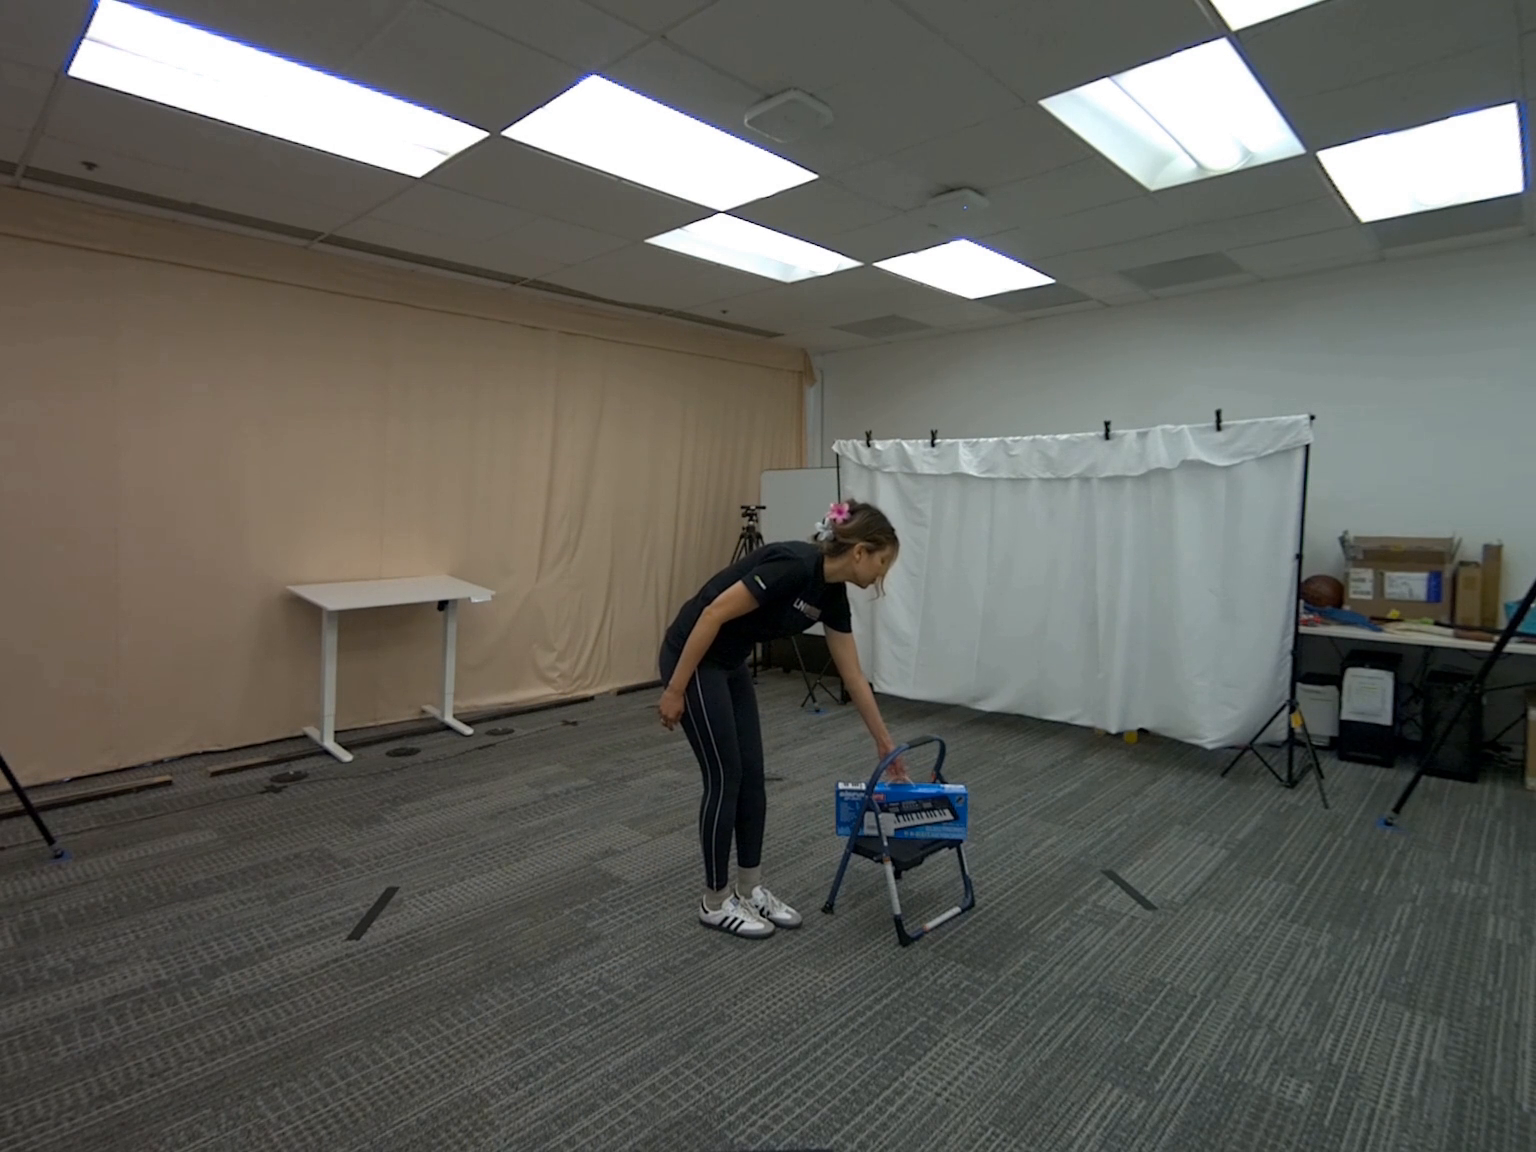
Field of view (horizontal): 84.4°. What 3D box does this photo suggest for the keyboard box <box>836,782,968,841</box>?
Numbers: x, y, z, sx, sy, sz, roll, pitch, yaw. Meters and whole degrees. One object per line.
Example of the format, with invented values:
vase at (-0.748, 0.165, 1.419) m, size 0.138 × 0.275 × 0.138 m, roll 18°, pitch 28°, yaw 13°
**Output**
keyboard box at (0.458, 0.802, 2.871) m, size 0.440 × 0.175 × 0.059 m, roll 1°, pitch 10°, yaw 7°
